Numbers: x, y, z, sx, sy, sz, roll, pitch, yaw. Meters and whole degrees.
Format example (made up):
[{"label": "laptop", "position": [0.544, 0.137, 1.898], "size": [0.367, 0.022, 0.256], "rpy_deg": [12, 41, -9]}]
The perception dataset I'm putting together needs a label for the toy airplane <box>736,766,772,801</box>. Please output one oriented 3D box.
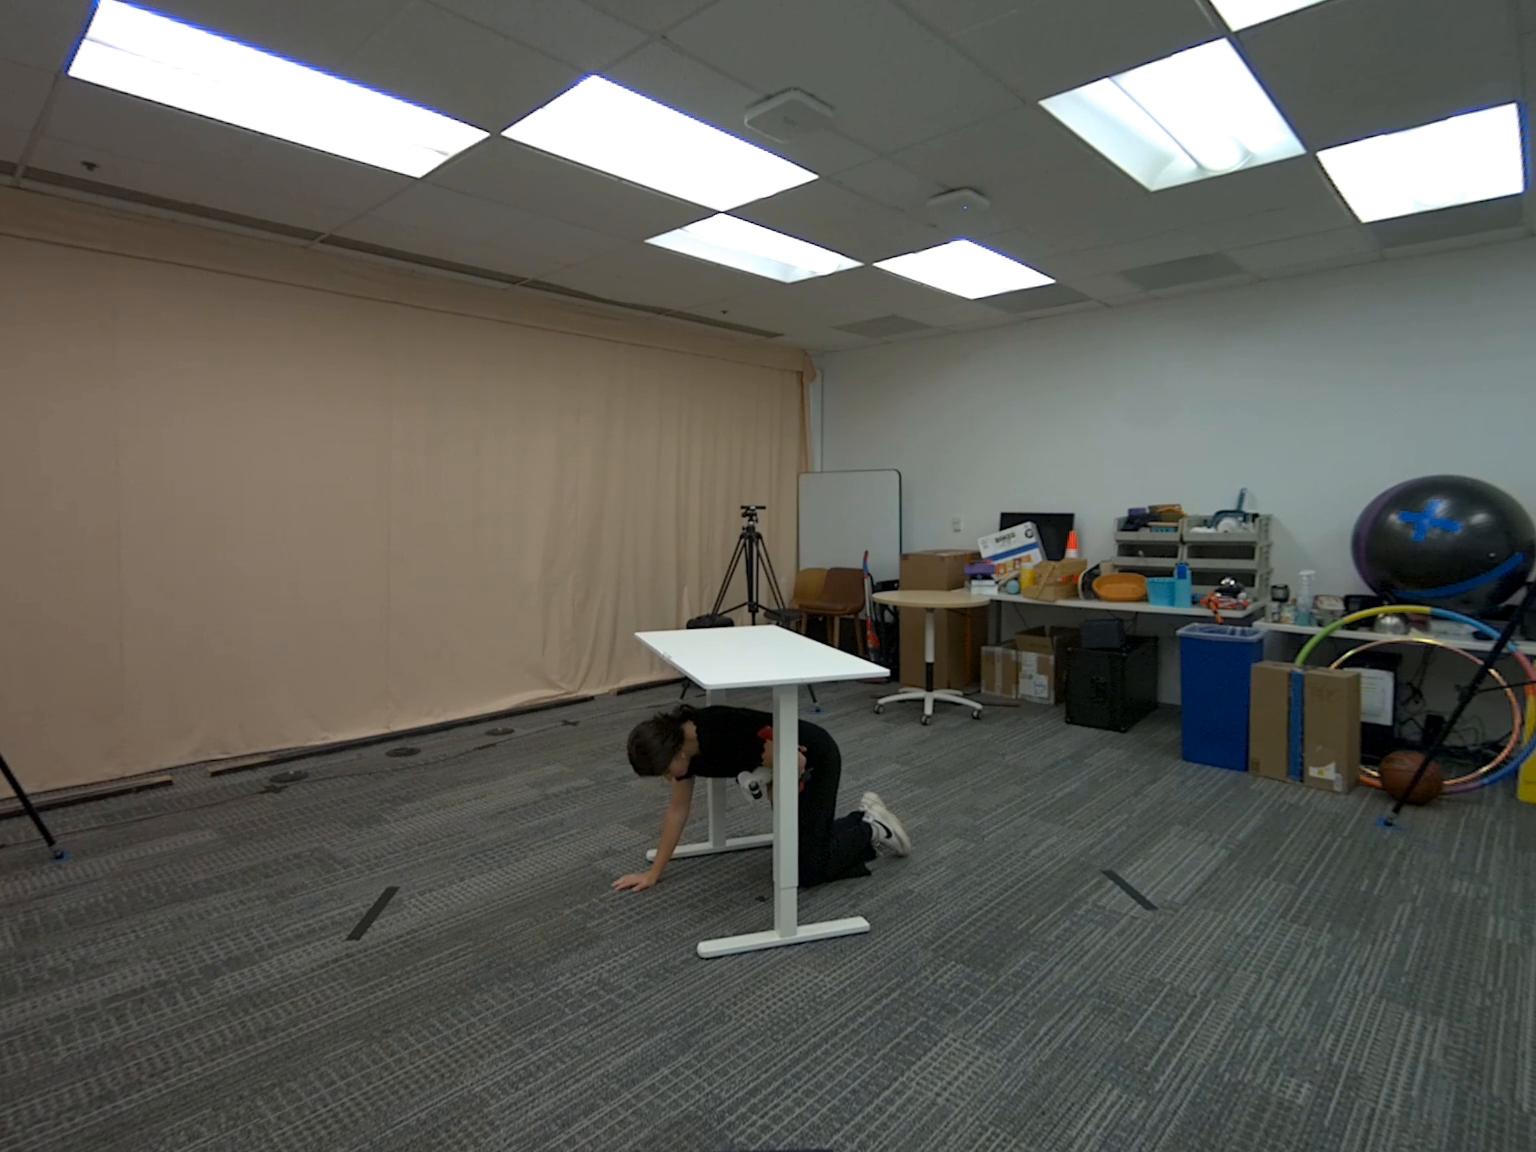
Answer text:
[{"label": "toy airplane", "position": [0.009, 0.657, 2.951], "size": [0.253, 0.249, 0.161], "rpy_deg": [3, 13, -21]}]
